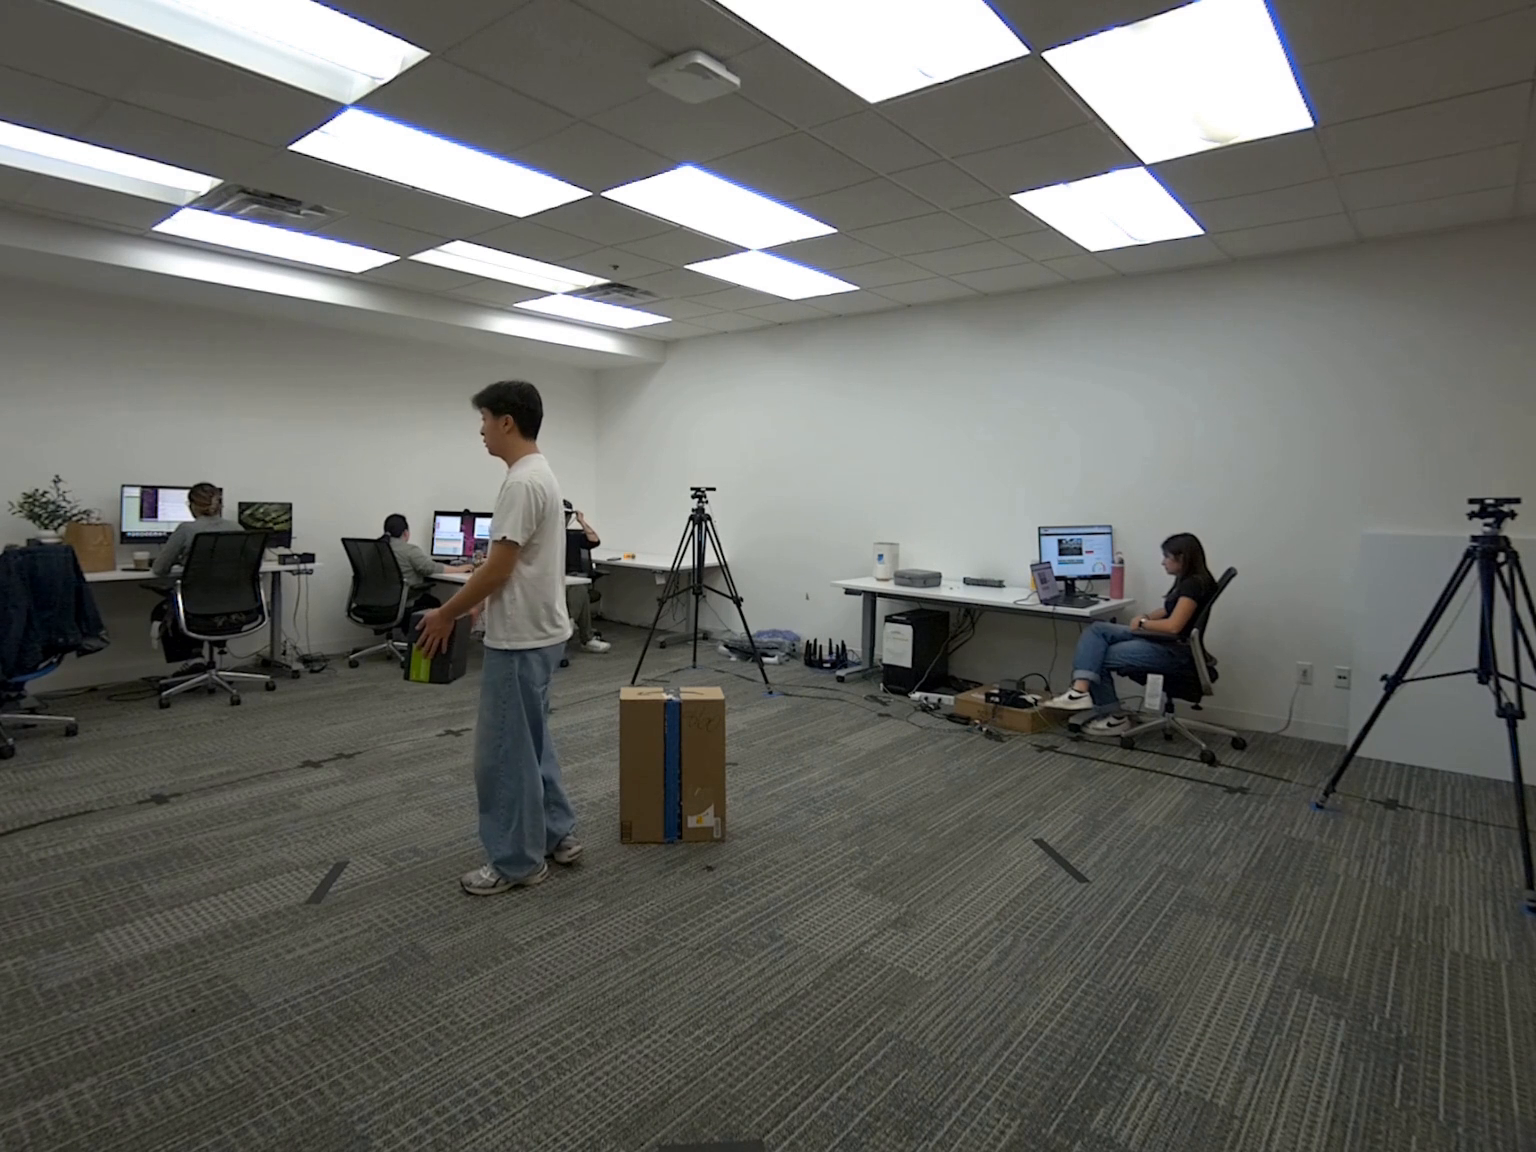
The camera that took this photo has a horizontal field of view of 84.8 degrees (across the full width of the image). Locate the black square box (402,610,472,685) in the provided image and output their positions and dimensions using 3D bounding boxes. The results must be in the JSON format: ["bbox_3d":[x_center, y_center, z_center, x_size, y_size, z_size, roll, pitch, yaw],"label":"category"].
[{"bbox_3d":[-1.176,0.250,2.962,0.155,0.228,0.218,6,1,-7],"label":"black square box"}]
